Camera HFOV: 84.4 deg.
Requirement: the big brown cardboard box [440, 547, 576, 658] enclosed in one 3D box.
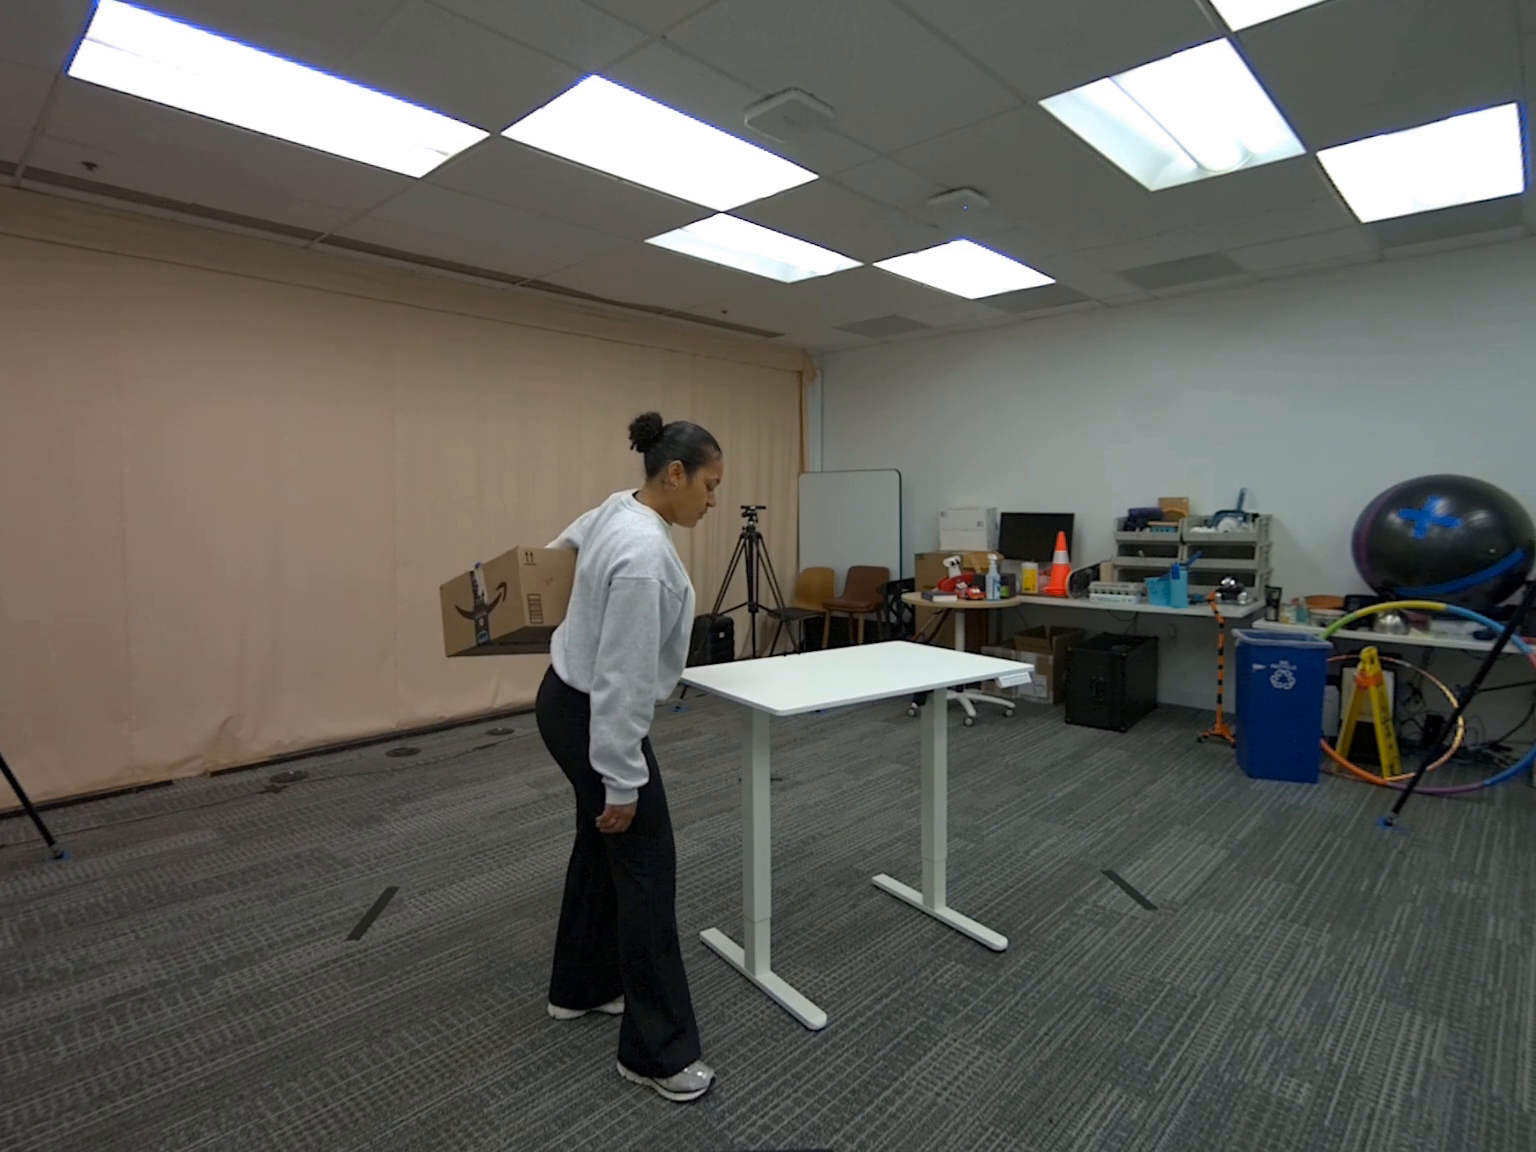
[{"bbox_3d":[-0.596,0.088,2.485,0.427,0.235,0.570,-19,-14,38],"label":"big brown cardboard box"}]
